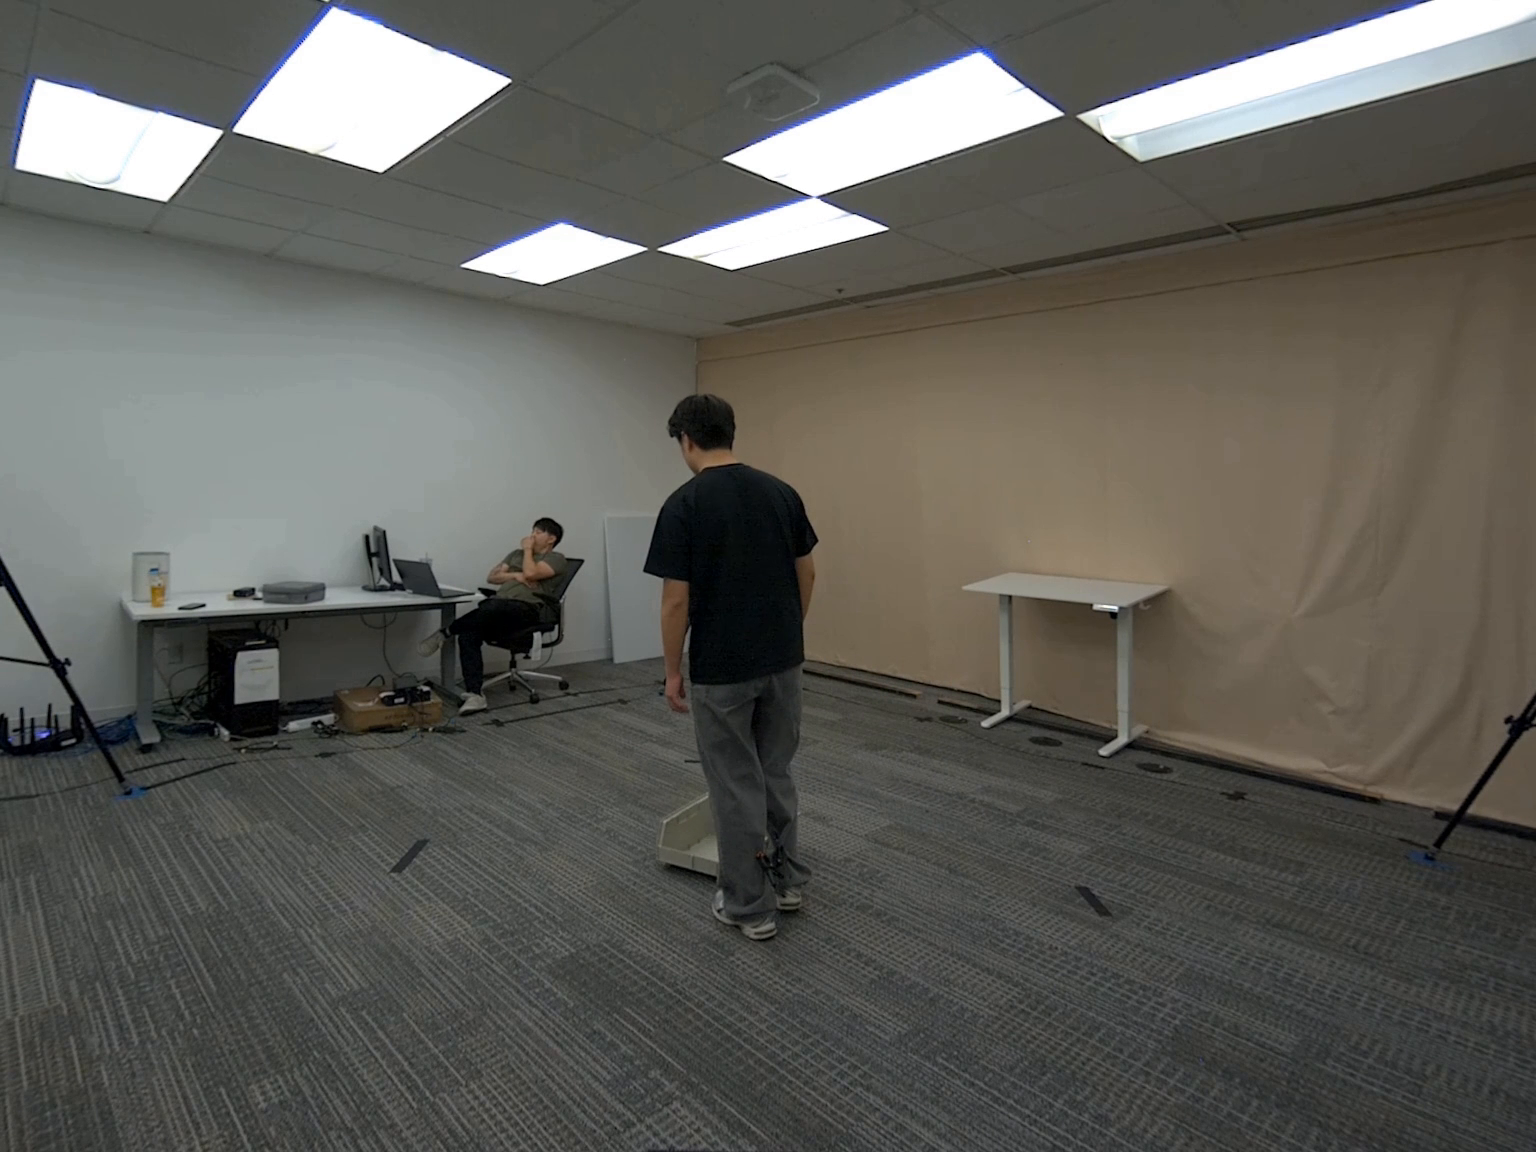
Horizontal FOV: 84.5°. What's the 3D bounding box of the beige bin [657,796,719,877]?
[{"bbox_3d":[-0.152,1.007,3.195,0.431,0.188,0.370,3,5,28],"label":"beige bin"}]
